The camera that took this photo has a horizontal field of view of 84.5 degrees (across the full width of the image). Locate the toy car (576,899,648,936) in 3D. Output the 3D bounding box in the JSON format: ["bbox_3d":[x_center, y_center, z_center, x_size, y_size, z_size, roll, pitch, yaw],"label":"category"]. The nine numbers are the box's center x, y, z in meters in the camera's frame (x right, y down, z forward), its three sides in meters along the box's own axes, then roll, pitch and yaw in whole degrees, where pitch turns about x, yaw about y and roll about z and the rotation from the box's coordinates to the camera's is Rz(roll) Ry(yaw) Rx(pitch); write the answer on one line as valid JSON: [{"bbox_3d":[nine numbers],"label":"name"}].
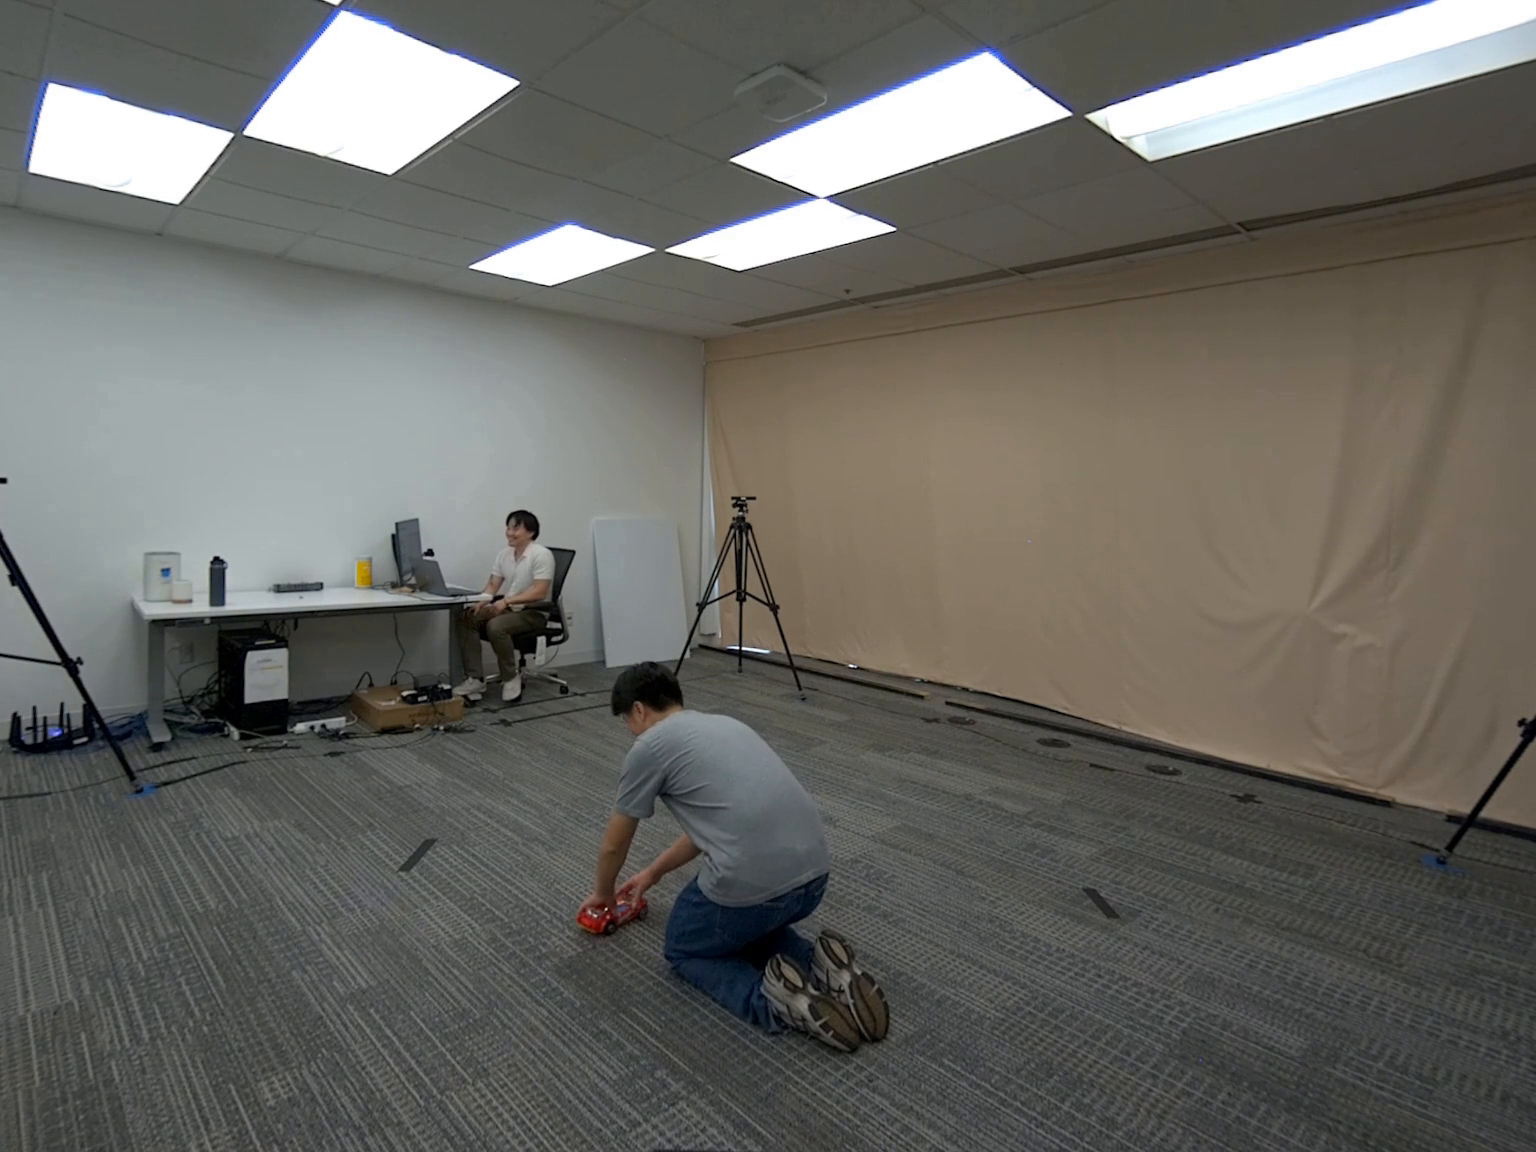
[{"bbox_3d":[-0.523,1.106,2.728,0.133,0.083,0.247,3,-6,39],"label":"toy car"}]
